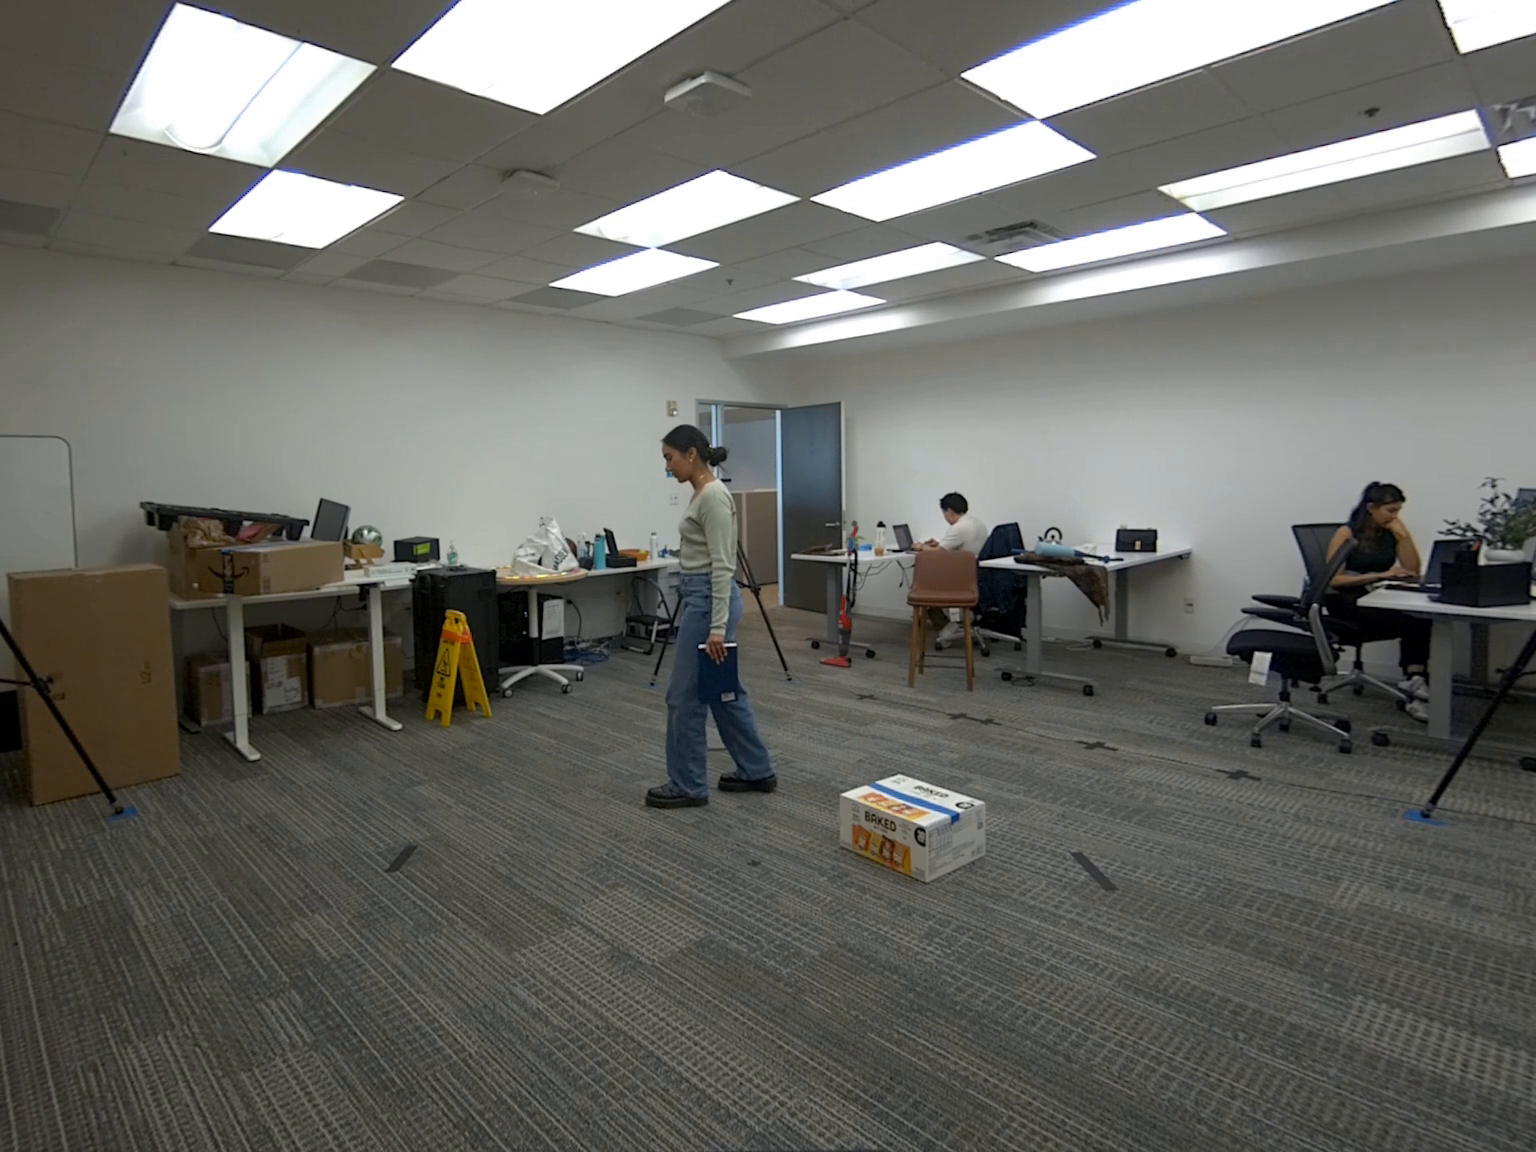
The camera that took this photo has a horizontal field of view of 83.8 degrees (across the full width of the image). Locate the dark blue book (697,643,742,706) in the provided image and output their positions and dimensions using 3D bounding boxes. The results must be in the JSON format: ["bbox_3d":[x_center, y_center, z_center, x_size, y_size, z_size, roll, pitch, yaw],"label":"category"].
[{"bbox_3d":[-0.214,0.402,3.517,0.162,0.242,0.046,-1,12,-5],"label":"dark blue book"}]
